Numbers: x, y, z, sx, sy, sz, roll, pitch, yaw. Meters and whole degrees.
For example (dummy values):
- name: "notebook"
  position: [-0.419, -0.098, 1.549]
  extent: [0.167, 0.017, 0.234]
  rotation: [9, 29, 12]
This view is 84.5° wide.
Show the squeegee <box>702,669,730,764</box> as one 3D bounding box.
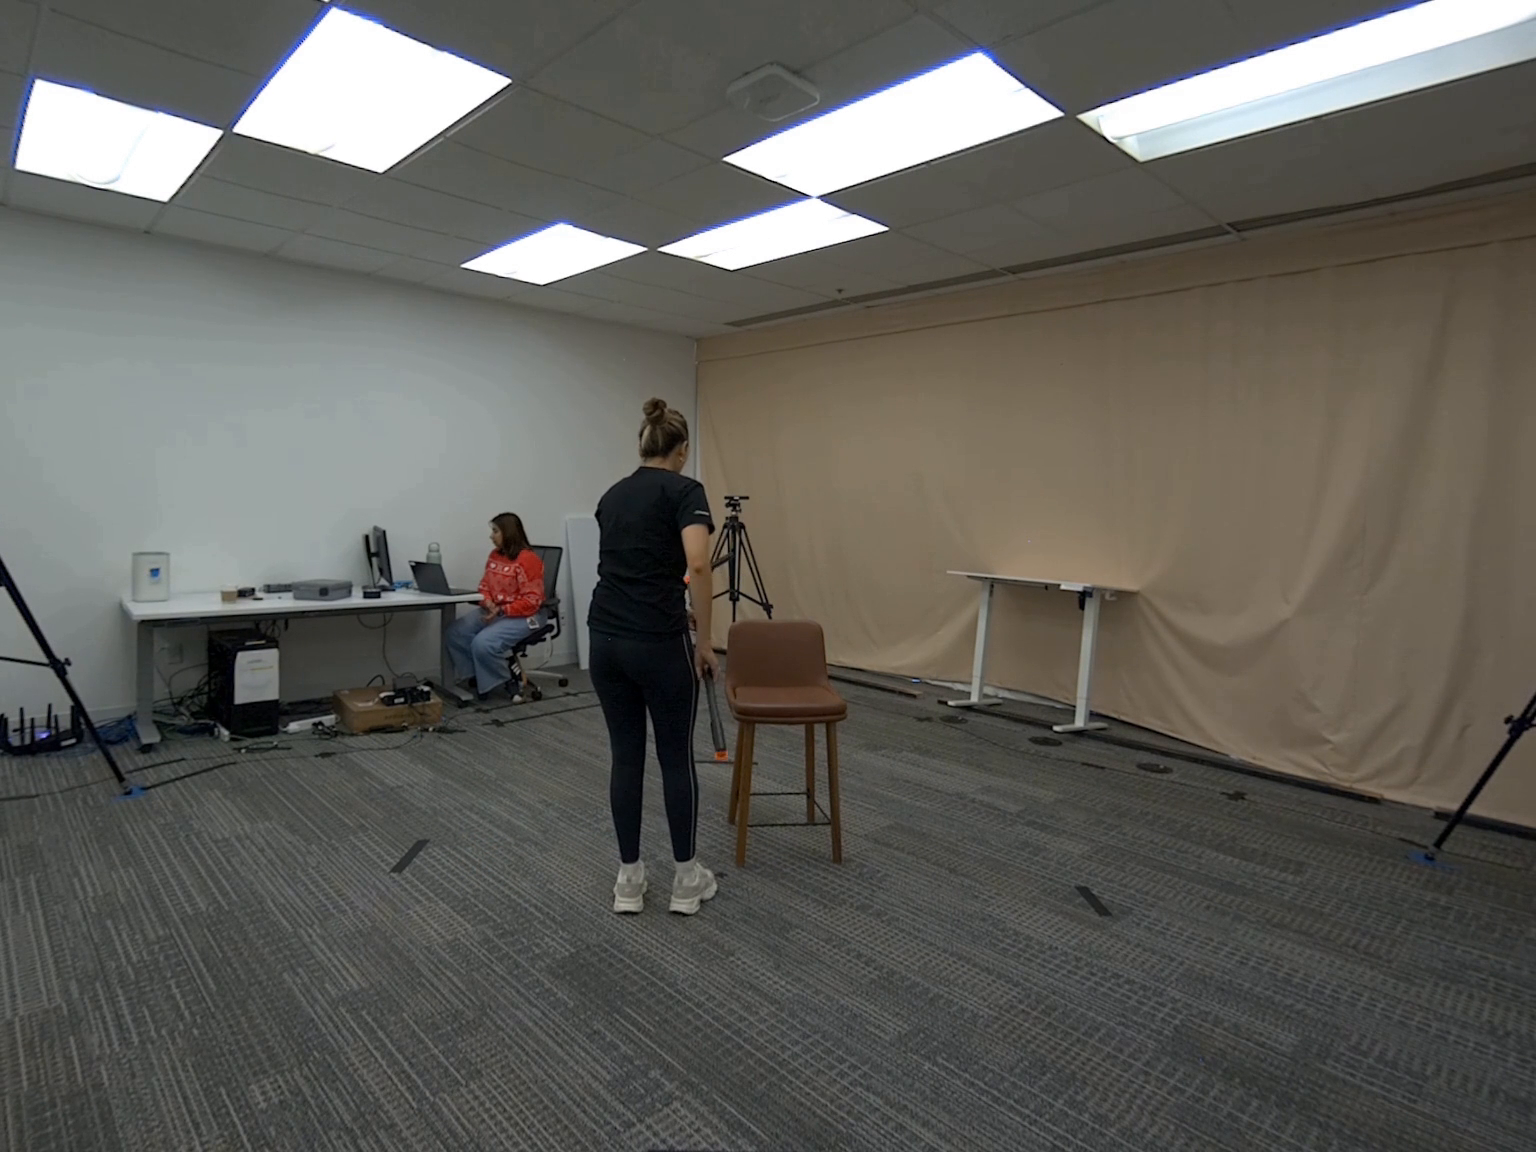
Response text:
- name: "squeegee"
  position: [-0.224, 0.268, 2.938]
  extent: [0.438, 0.052, 1.564]
  rotation: [-28, 20, 3]
